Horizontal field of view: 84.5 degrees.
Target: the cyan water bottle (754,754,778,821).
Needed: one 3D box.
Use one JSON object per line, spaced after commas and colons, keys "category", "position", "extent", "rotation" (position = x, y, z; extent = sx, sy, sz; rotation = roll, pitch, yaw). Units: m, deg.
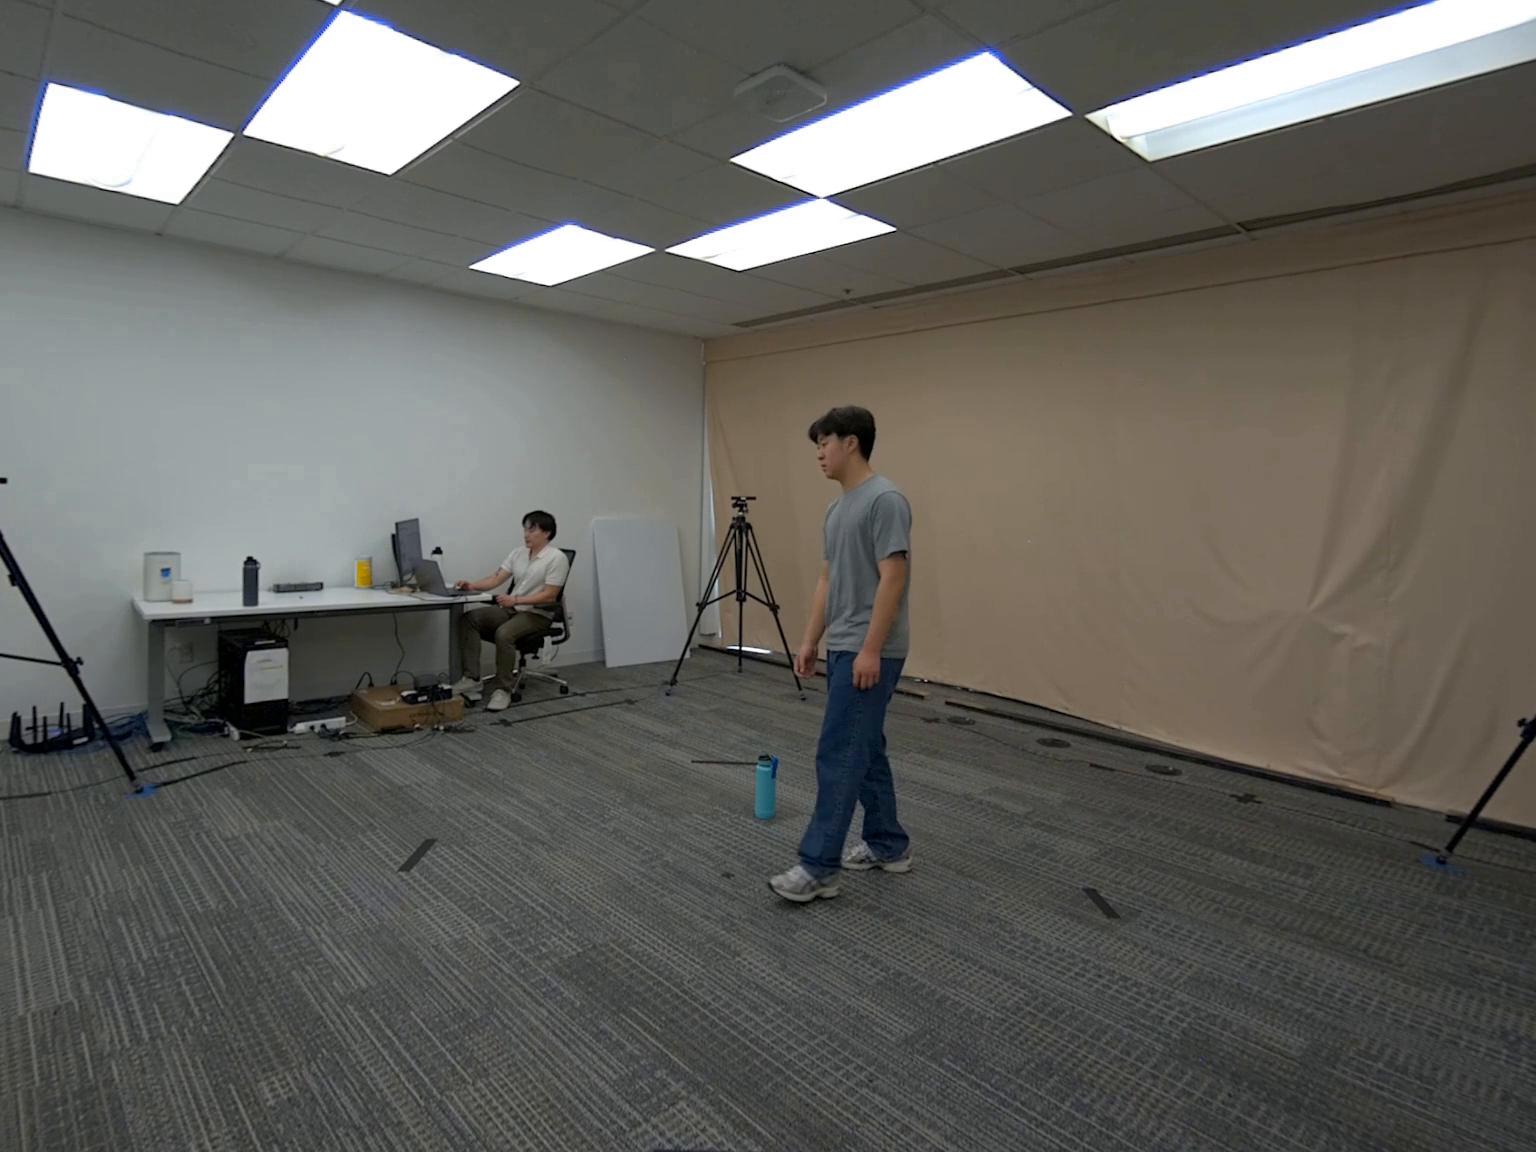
{"category": "cyan water bottle", "position": [-0.017, 0.919, 3.710], "extent": [0.092, 0.282, 0.093], "rotation": [4, 4, -2]}
